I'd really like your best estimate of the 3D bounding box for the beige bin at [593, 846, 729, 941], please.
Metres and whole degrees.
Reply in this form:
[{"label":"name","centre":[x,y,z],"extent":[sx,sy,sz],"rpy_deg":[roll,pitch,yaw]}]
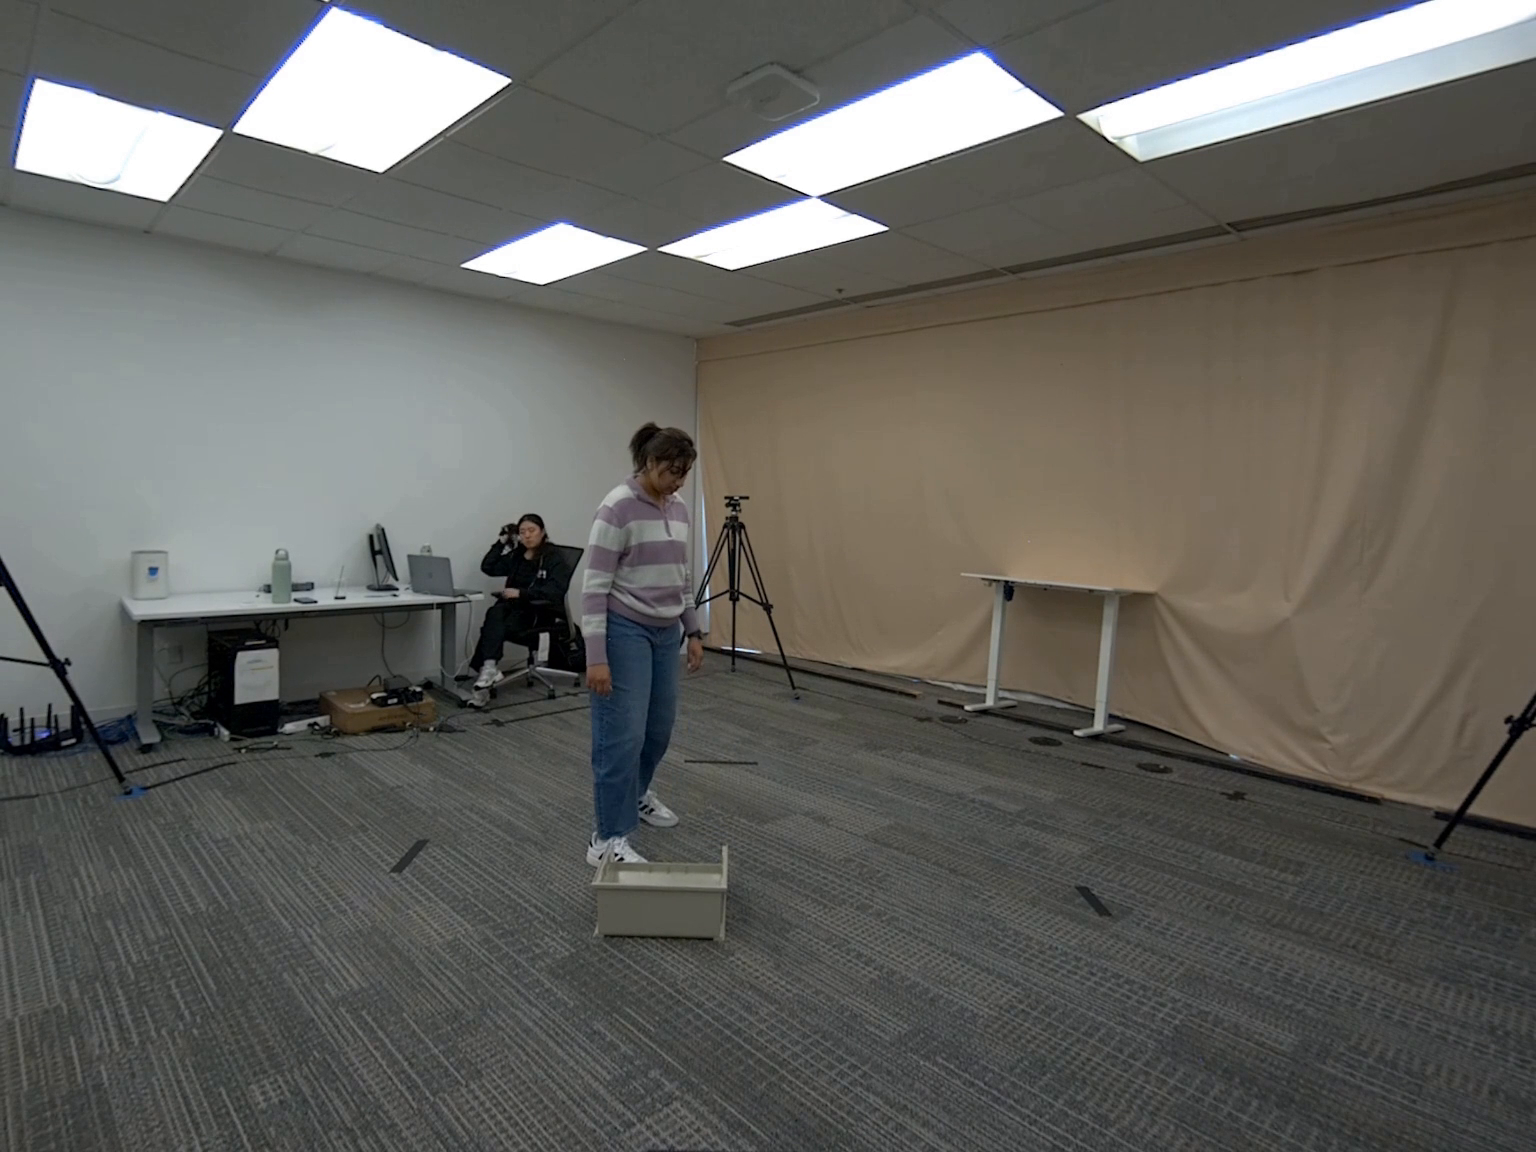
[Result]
[{"label":"beige bin","centre":[-0.353,1.041,2.806],"extent":[0.422,0.188,0.379],"rpy_deg":[1,5,-1]}]
